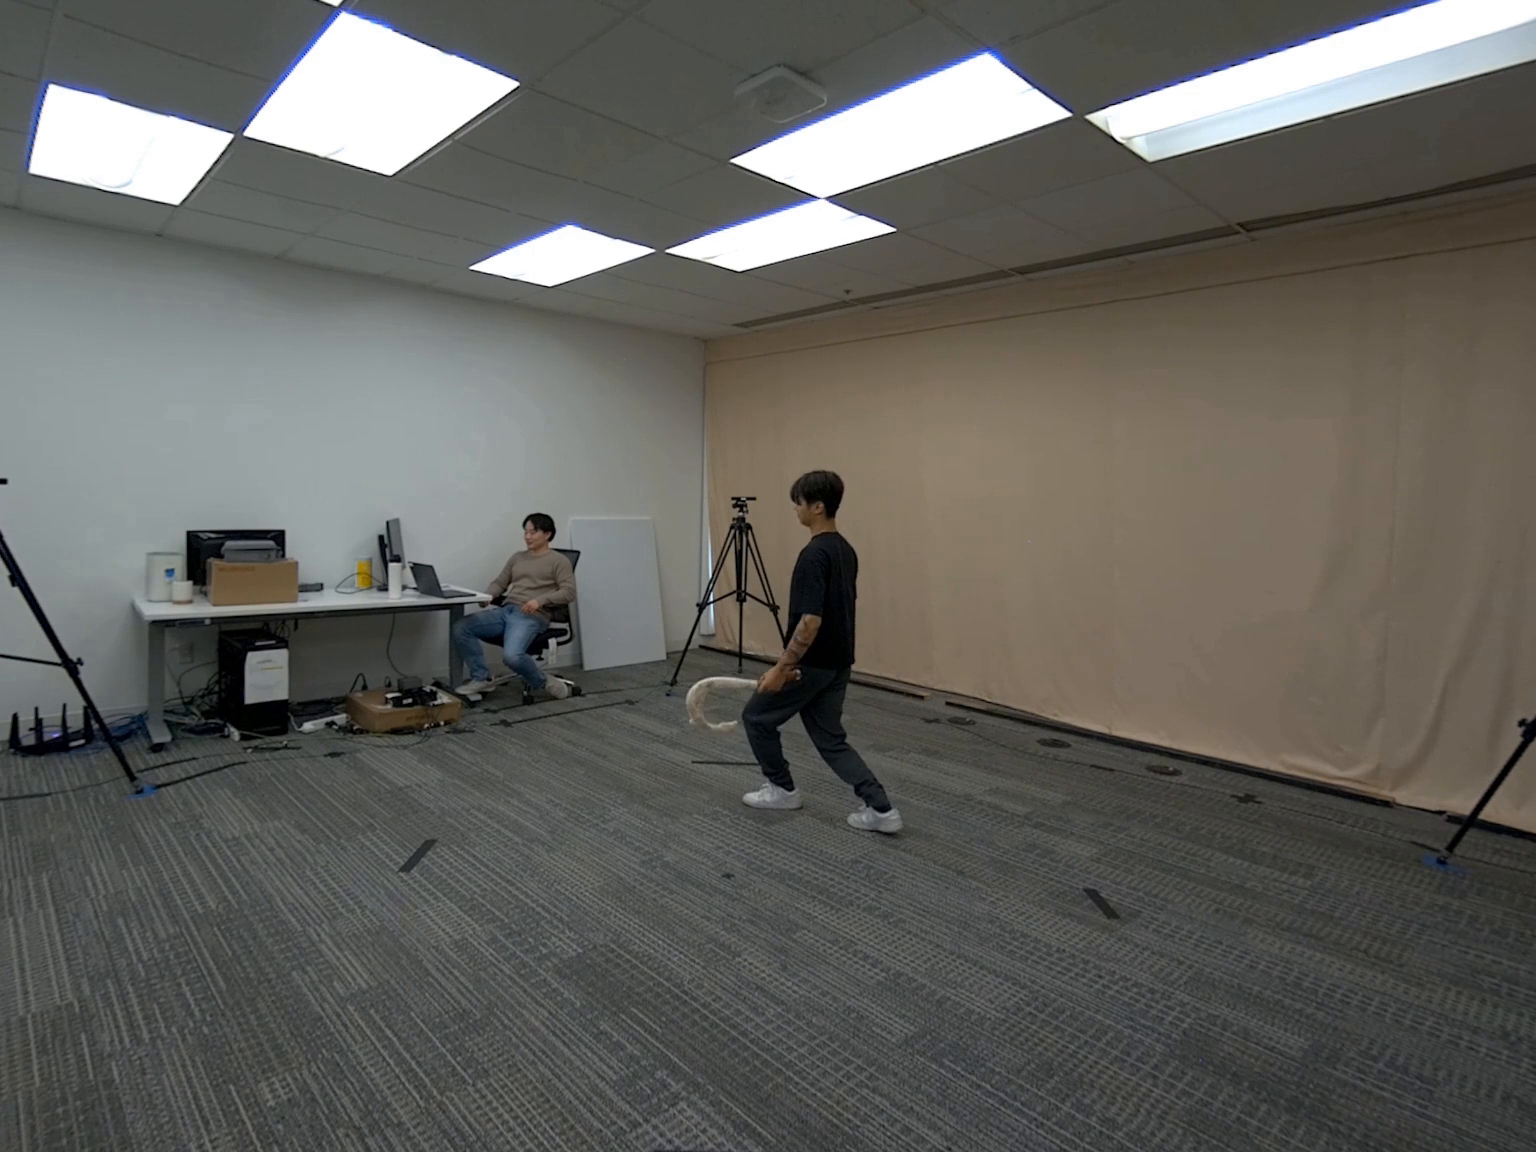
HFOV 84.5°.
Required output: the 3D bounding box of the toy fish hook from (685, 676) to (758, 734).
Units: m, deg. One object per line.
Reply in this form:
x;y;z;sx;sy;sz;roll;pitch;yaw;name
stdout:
-0.088;0.487;3.447;0.502;0.224;0.049;-9;4;-14;toy fish hook
